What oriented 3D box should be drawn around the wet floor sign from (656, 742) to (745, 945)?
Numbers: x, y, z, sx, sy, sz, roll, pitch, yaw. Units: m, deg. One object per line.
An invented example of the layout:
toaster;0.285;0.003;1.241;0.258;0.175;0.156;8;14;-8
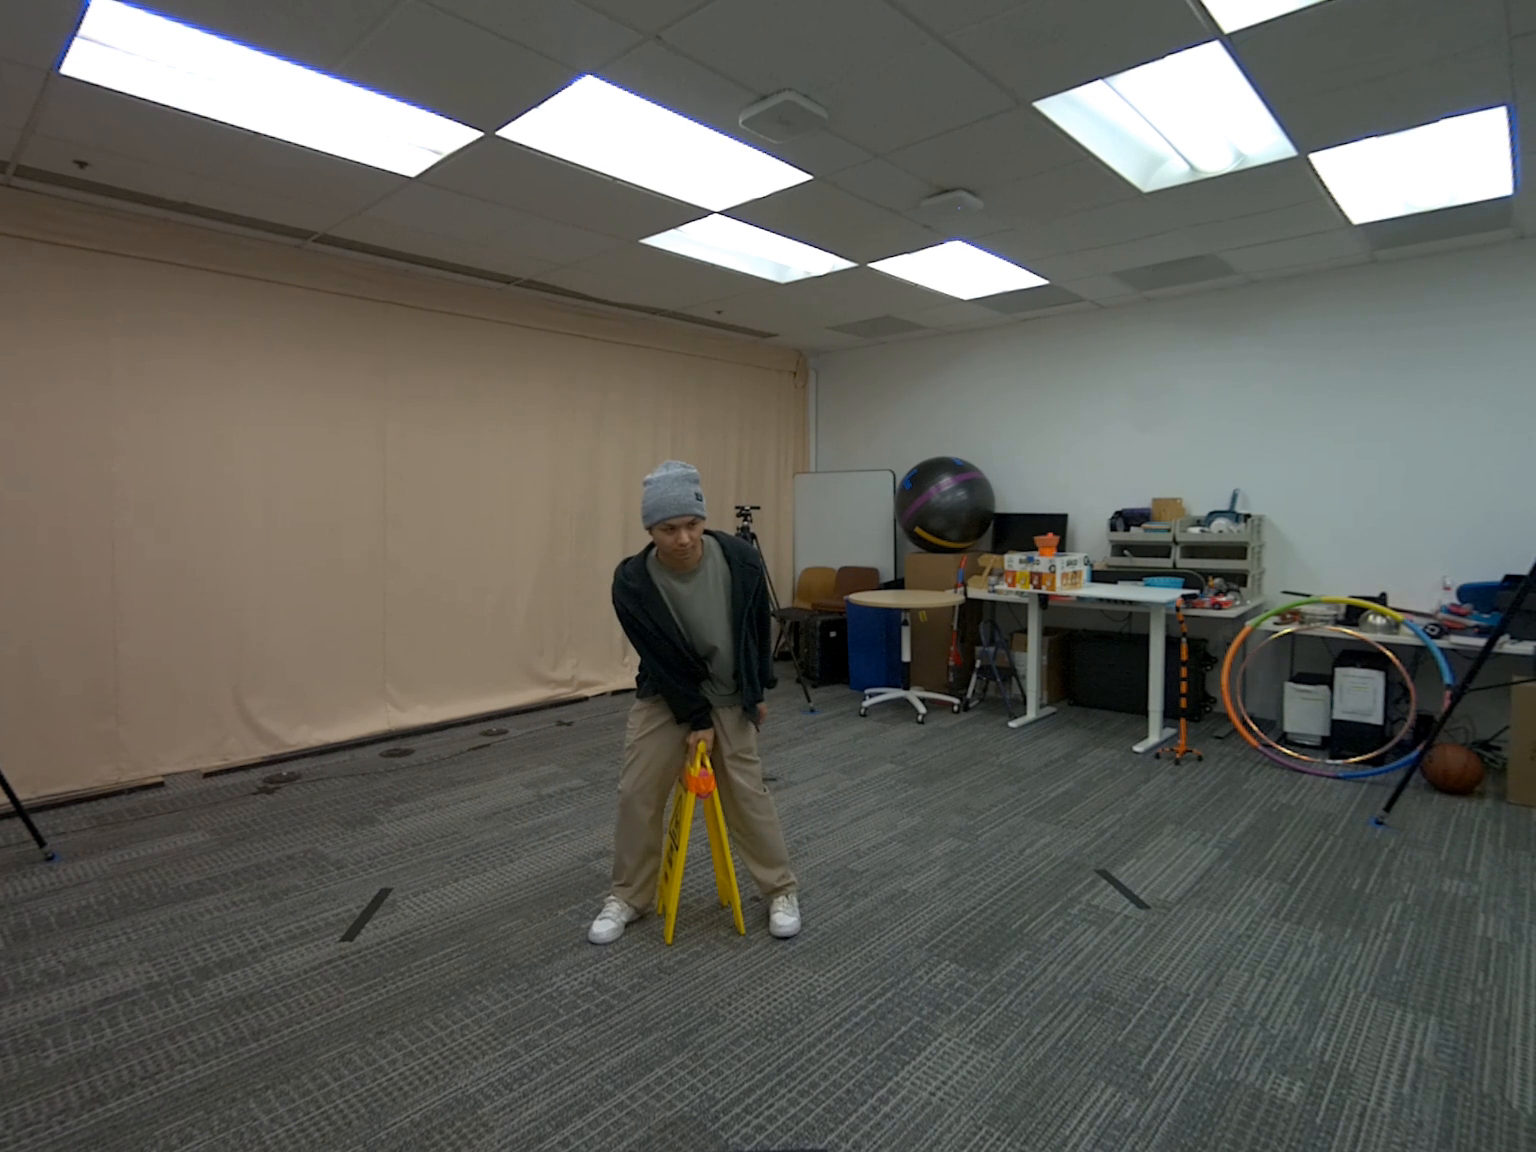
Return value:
wet floor sign;-0.242;0.840;2.808;0.285;0.645;0.287;-2;3;-15
